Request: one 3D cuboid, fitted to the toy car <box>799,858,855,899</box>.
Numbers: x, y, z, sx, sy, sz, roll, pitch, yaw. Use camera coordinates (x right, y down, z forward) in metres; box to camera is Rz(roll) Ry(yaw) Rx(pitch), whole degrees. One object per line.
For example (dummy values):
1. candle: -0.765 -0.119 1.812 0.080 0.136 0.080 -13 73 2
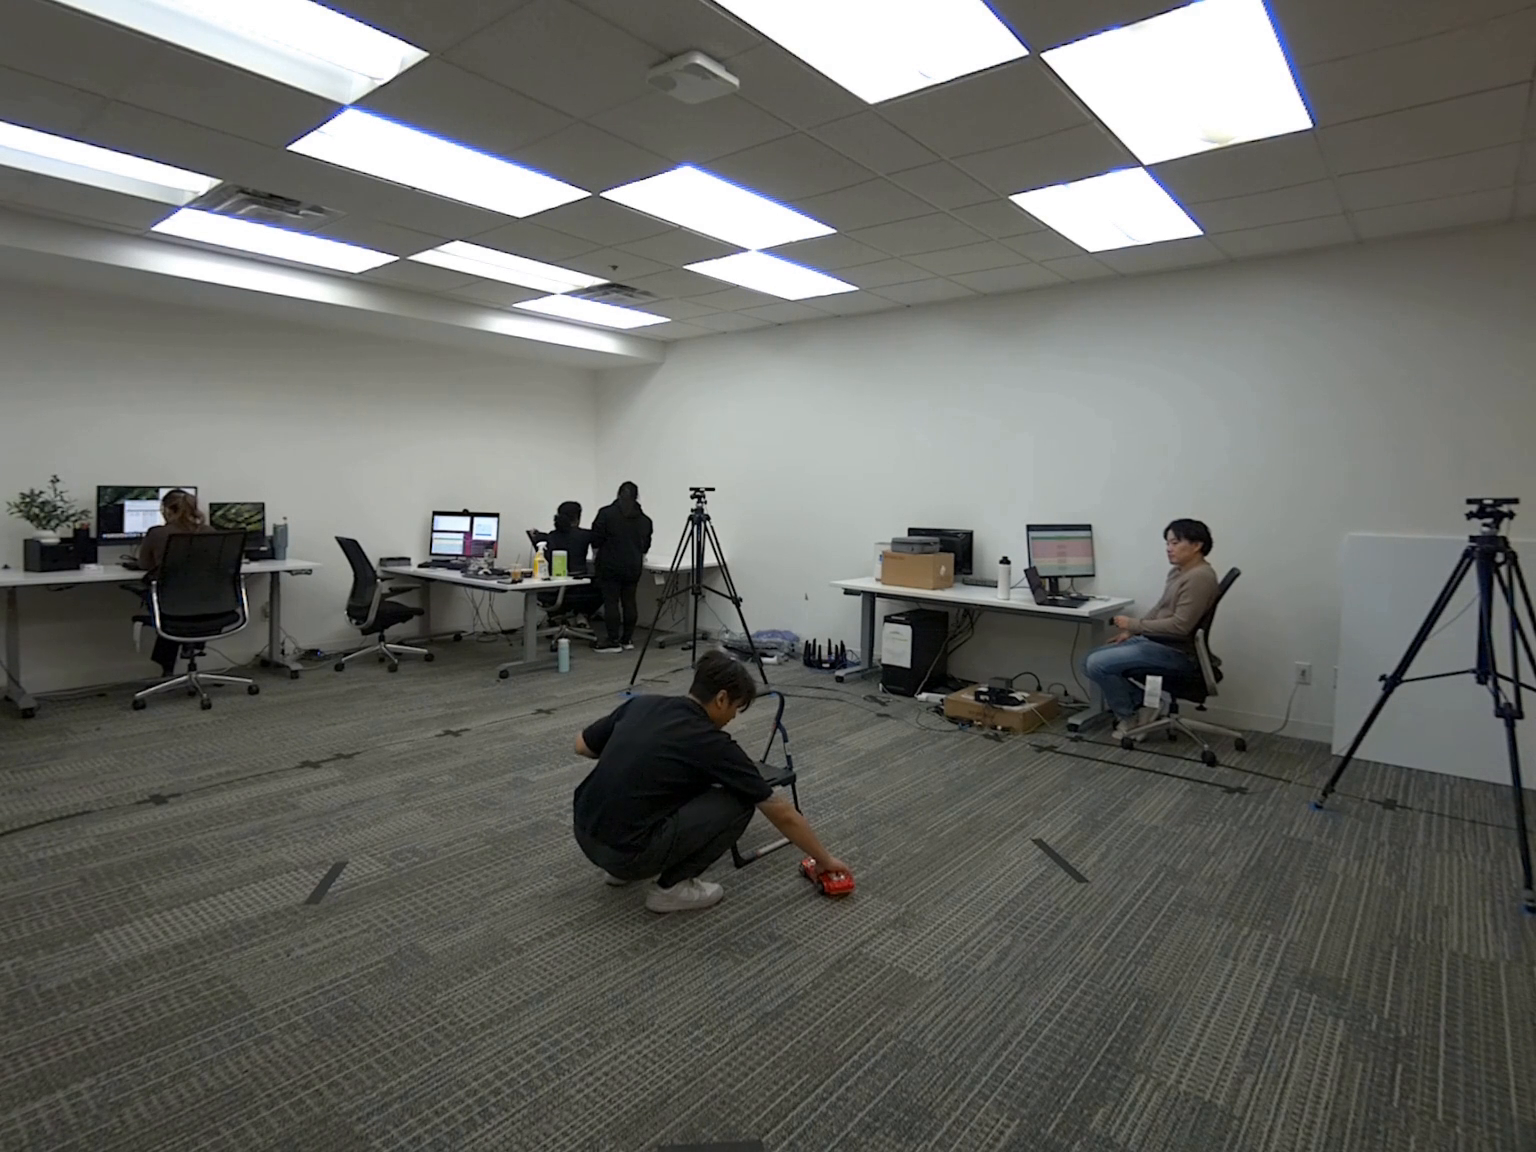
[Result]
1. toy car: 0.199 1.057 2.984 0.127 0.084 0.259 1 -5 -23
